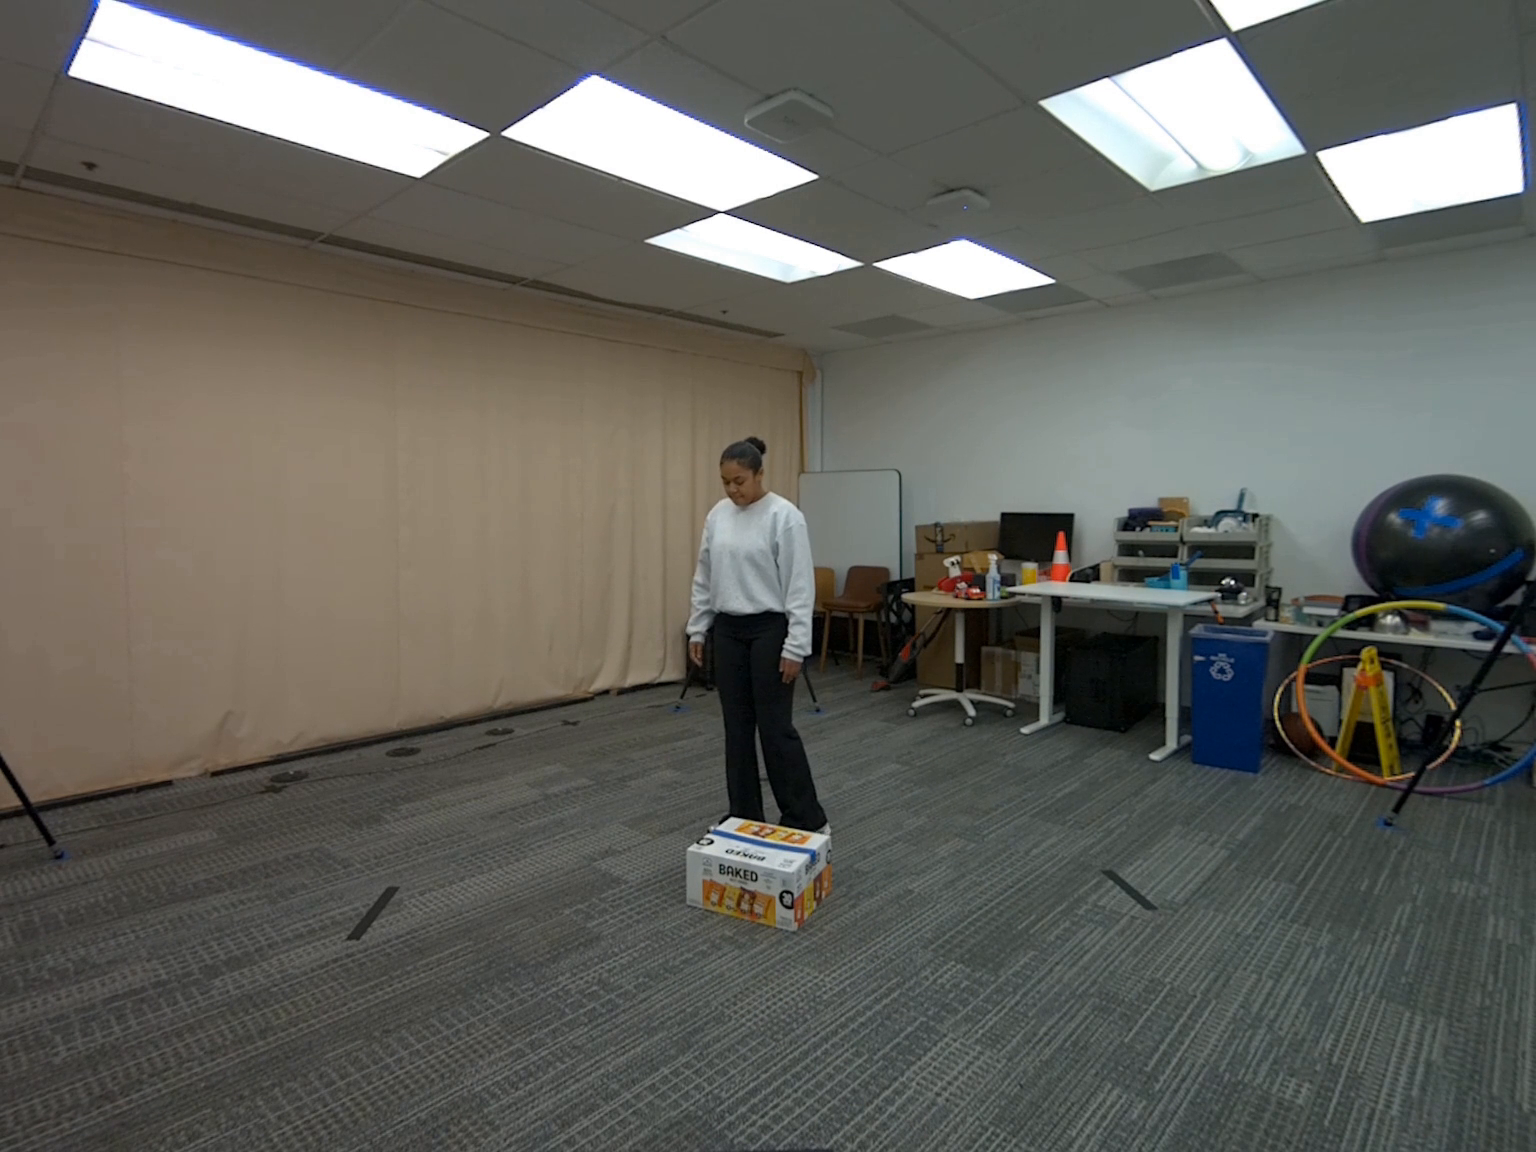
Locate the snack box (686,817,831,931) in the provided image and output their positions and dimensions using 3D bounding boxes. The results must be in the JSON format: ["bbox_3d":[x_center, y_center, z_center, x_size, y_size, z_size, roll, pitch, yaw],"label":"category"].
[{"bbox_3d":[-0.026,1.037,2.982,0.416,0.205,0.332,2,5,27],"label":"snack box"}]
